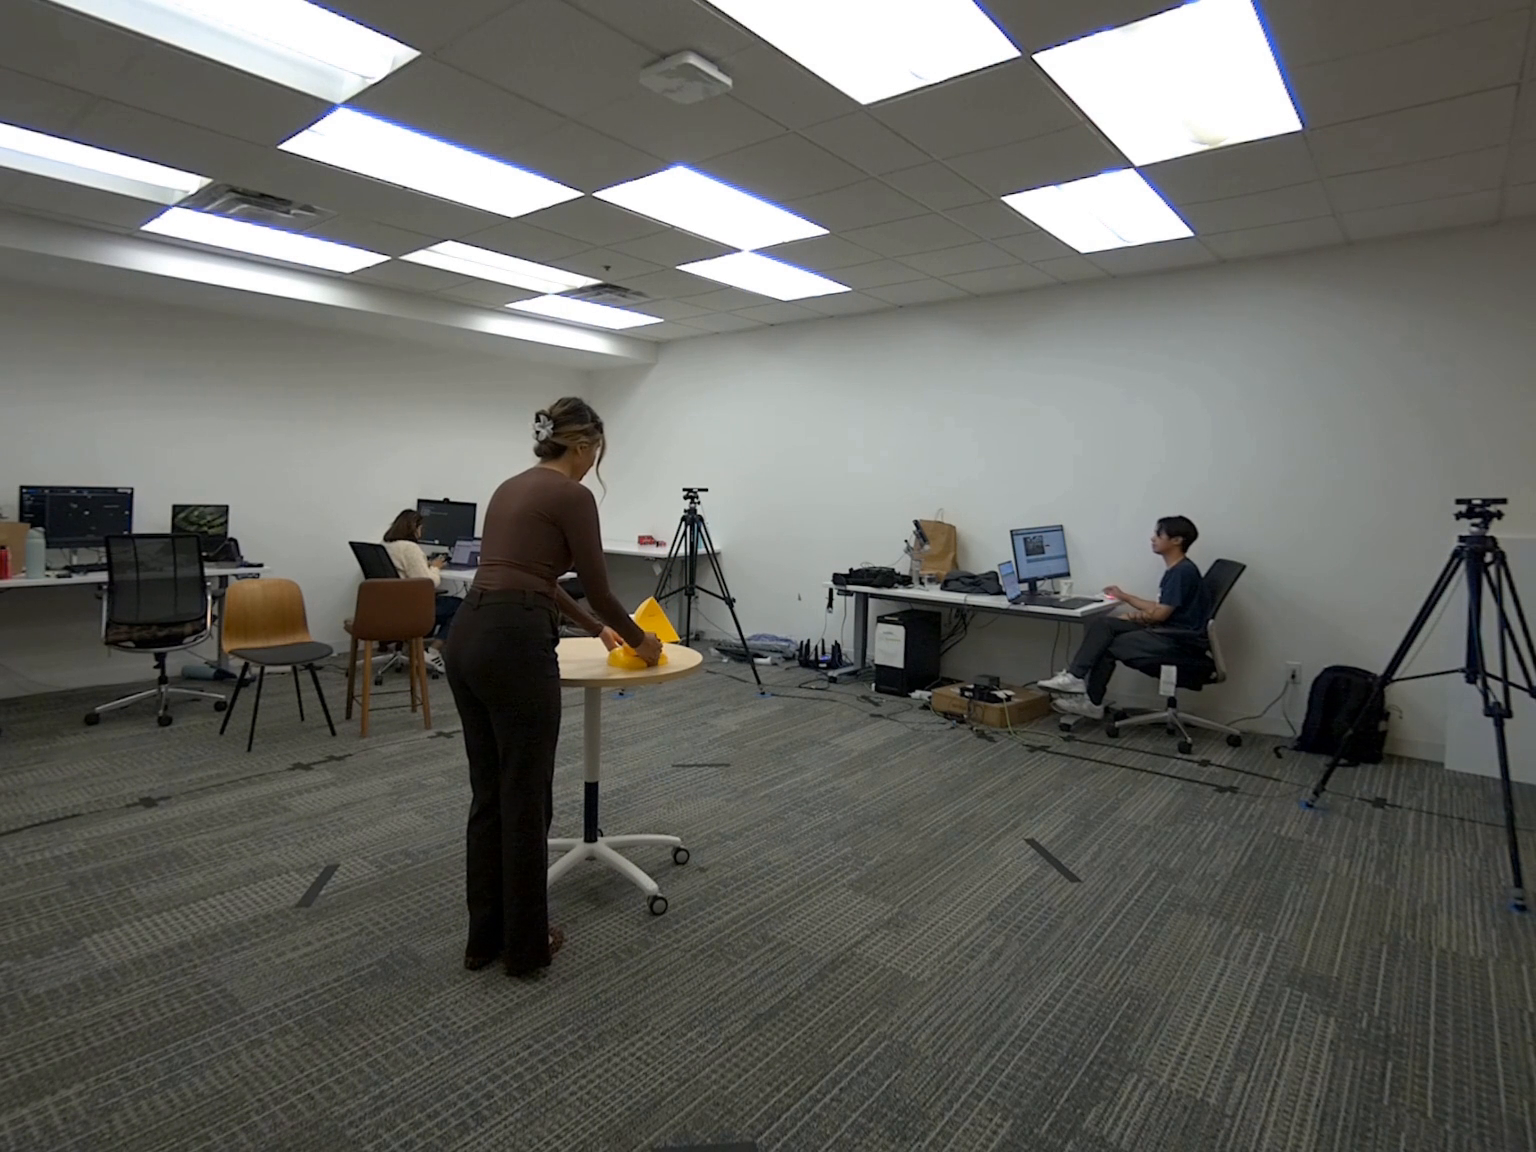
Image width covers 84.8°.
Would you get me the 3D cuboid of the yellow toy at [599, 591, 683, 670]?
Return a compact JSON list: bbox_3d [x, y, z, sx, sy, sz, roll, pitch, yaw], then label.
[{"bbox_3d":[-0.434,0.177,2.859,0.198,0.230,0.199,-1,3,-45],"label":"yellow toy"}]
